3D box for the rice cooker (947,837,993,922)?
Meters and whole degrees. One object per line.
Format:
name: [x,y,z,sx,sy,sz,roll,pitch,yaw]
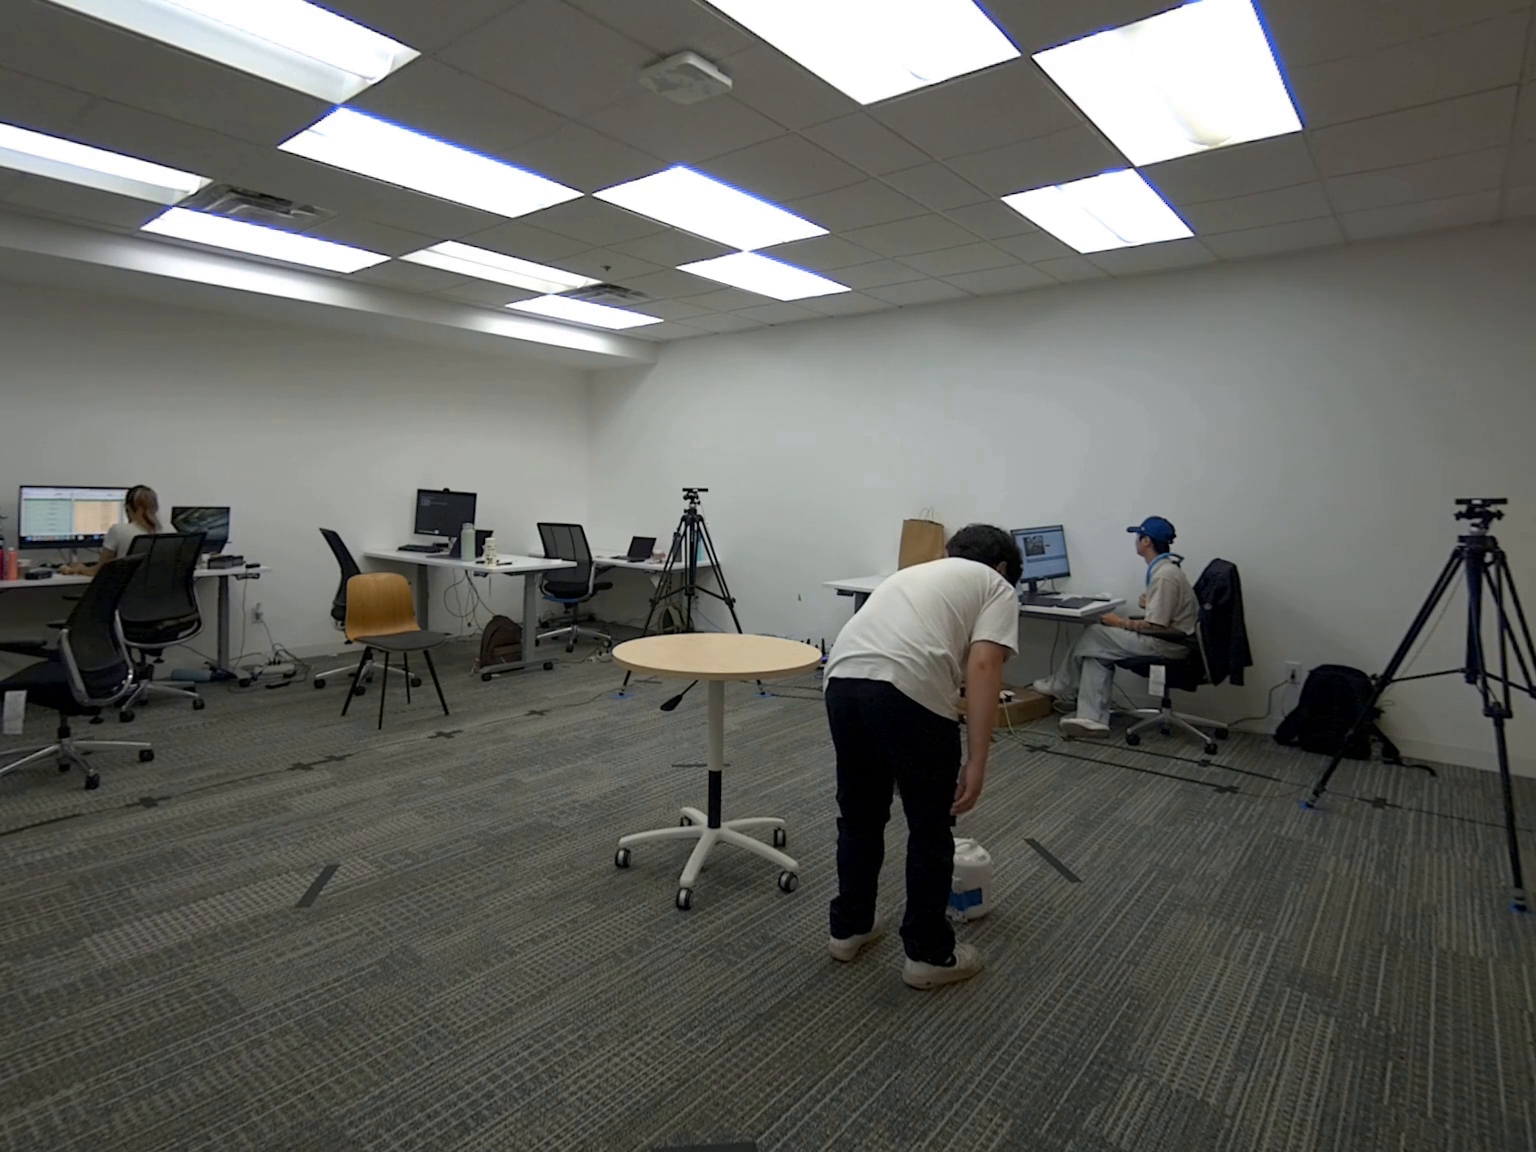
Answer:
rice cooker: [0.636,0.997,2.866,0.214,0.232,0.224,-2,6,-32]
